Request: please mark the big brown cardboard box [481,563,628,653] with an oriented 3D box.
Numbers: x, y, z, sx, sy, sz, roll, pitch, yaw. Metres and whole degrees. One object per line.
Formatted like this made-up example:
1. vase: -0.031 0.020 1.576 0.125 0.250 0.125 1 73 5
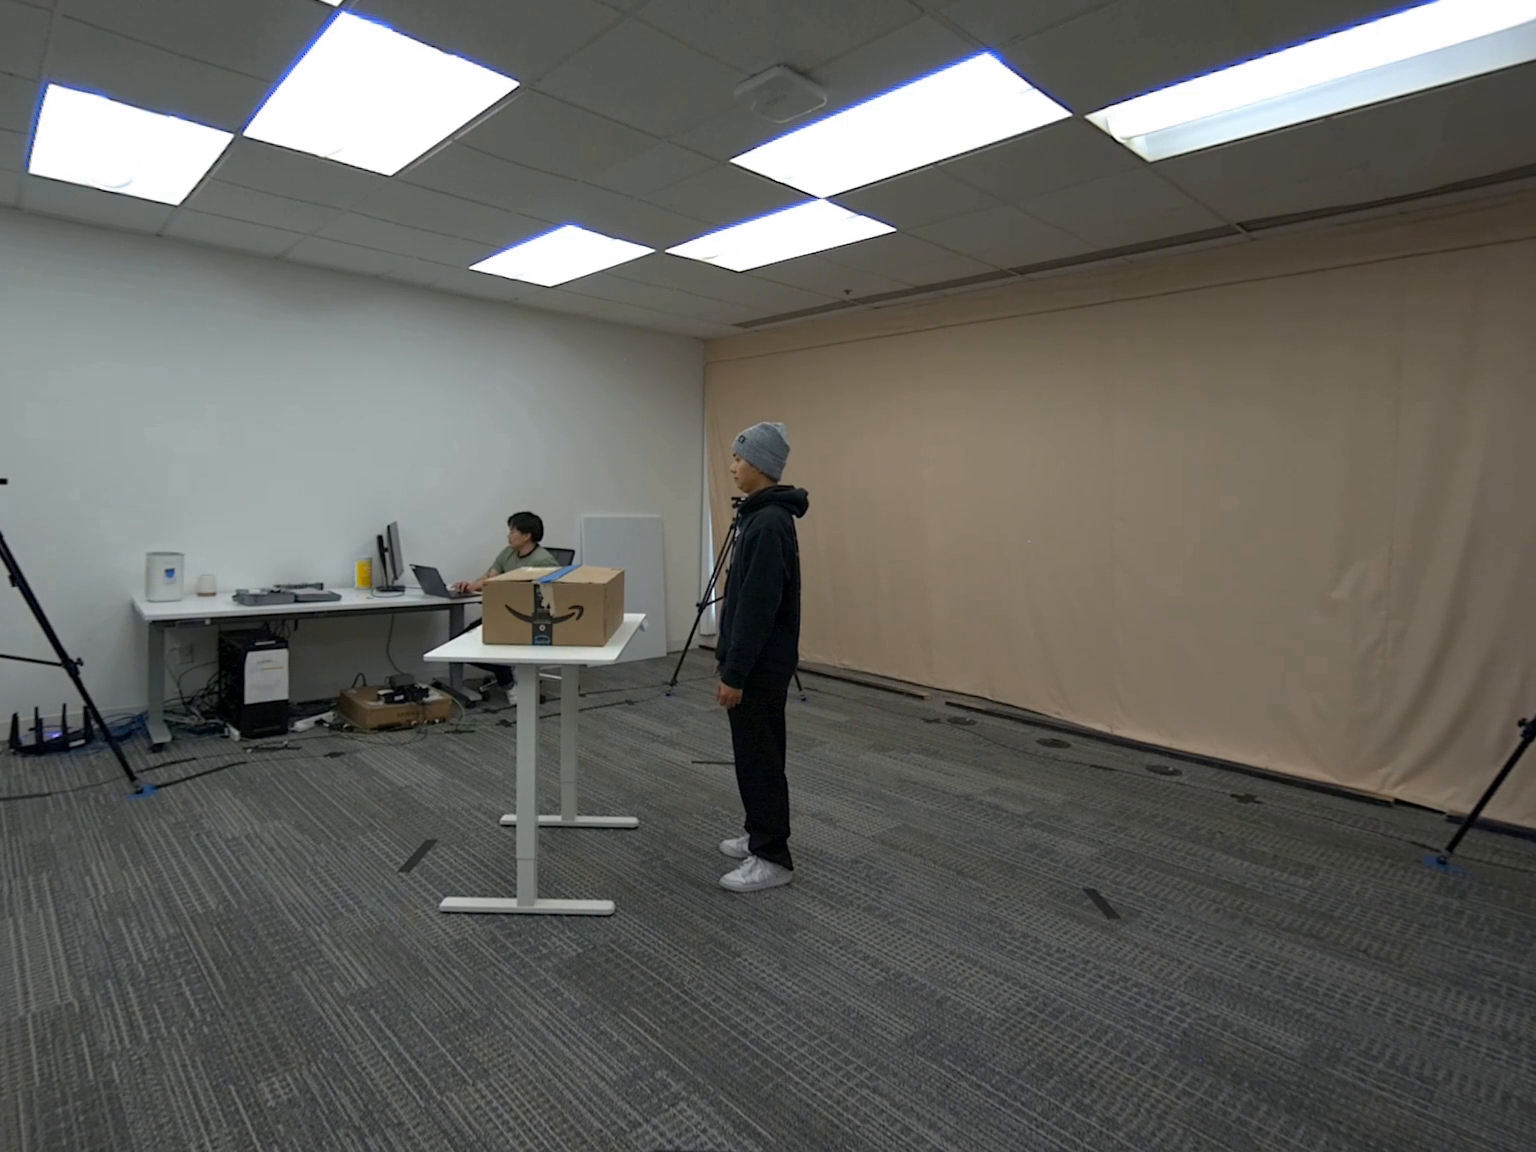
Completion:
1. big brown cardboard box: -0.766 0.101 3.120 0.417 0.232 0.592 1 6 -2
